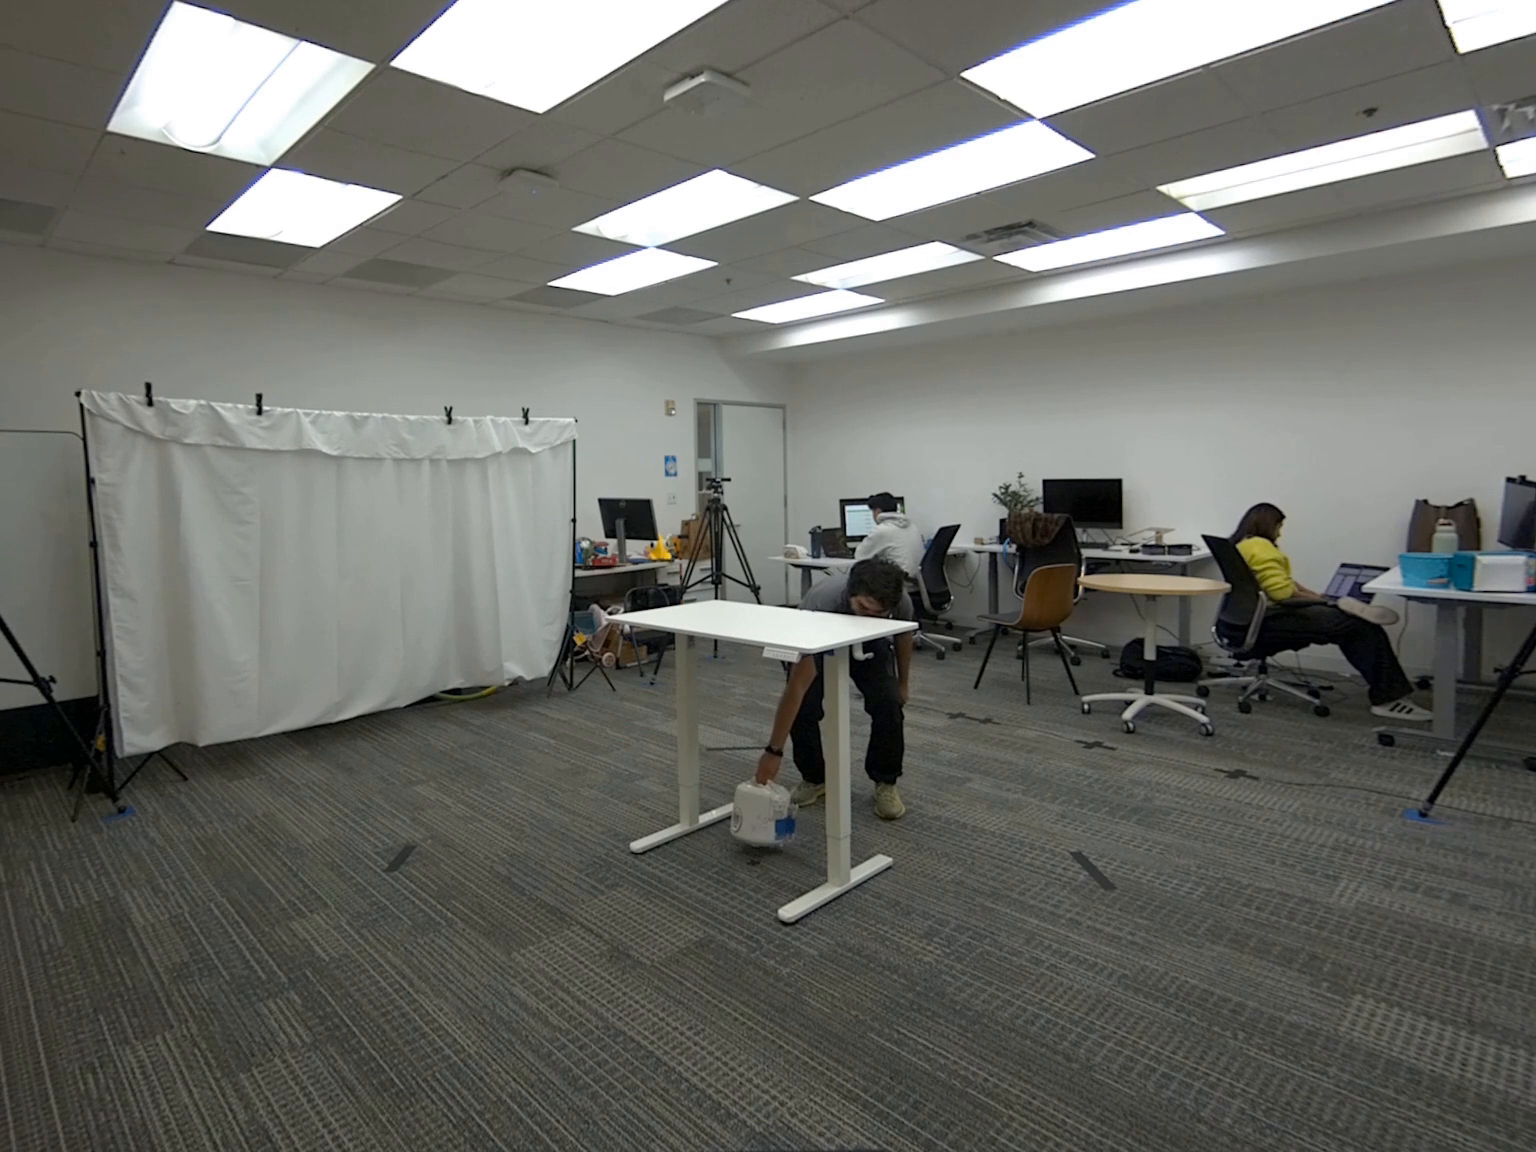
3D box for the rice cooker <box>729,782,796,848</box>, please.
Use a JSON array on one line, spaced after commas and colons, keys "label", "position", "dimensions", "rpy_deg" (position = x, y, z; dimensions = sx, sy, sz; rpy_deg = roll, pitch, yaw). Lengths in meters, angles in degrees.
[{"label": "rice cooker", "position": [-0.020, 0.878, 3.213], "dimensions": [0.211, 0.234, 0.226], "rpy_deg": [10, -6, -32]}]
